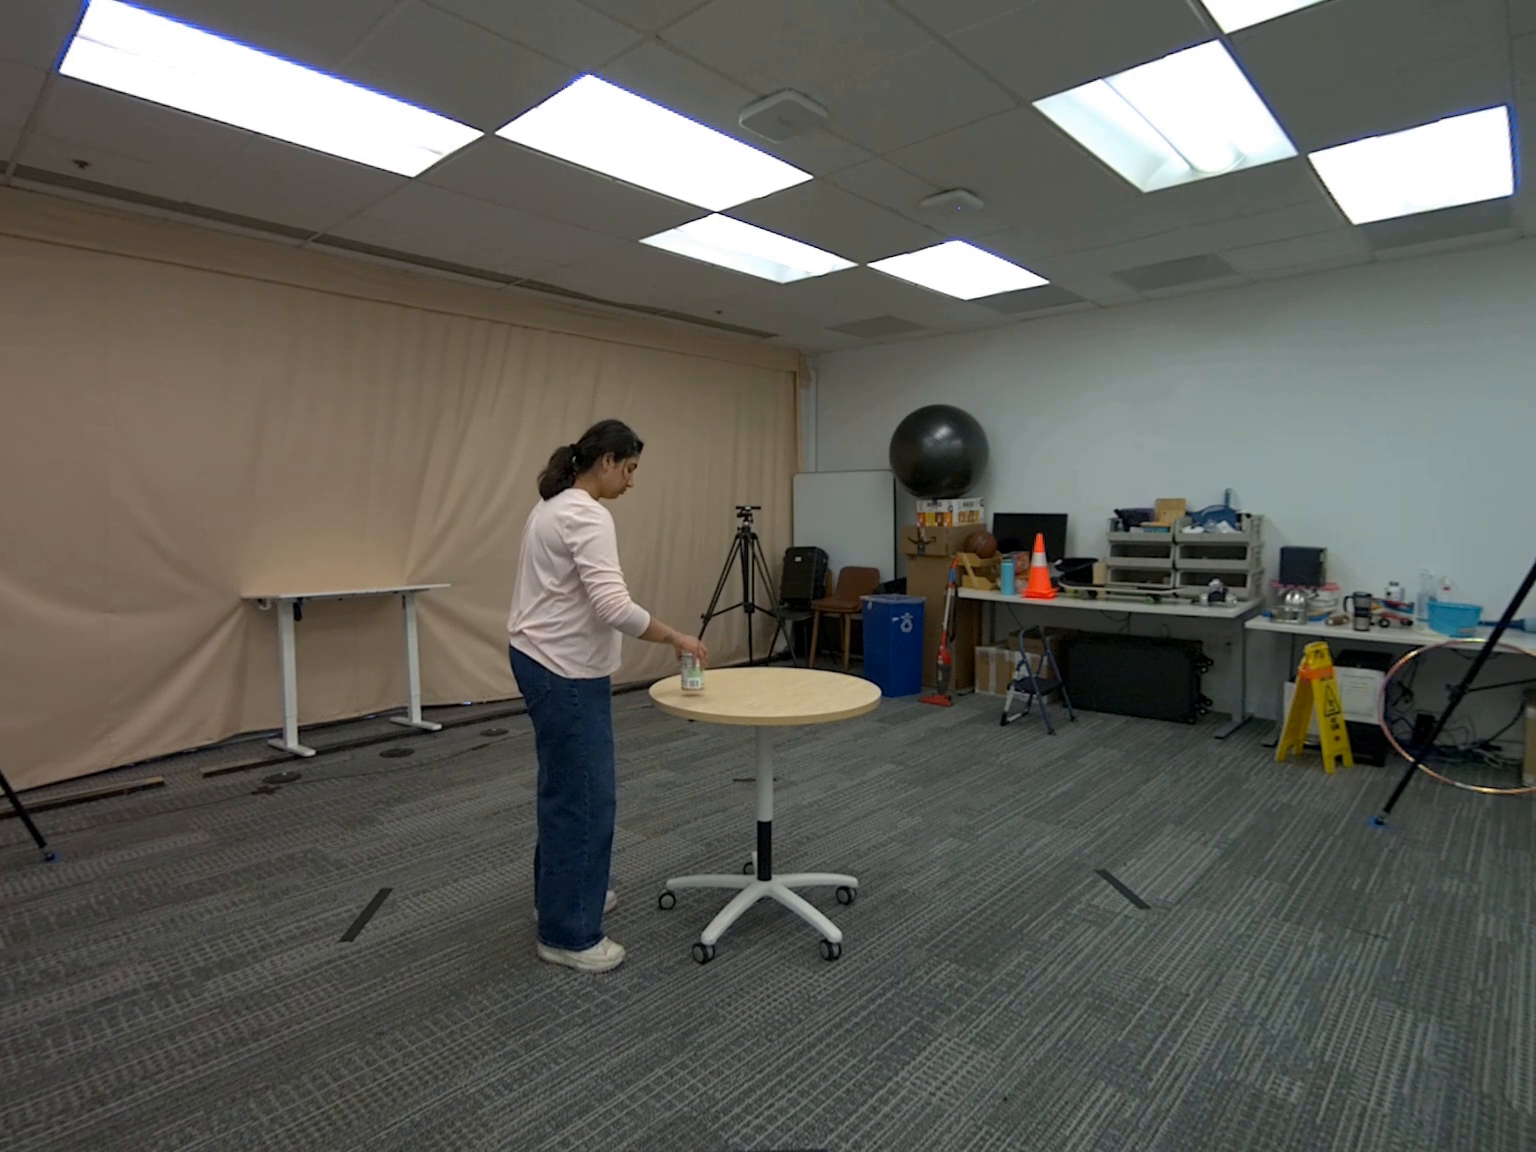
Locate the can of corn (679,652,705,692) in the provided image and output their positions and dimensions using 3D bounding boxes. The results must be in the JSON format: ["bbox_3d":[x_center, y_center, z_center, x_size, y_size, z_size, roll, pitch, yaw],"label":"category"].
[{"bbox_3d":[-0.240,0.312,2.685,0.074,0.111,0.074,-3,2,-2],"label":"can of corn"}]
